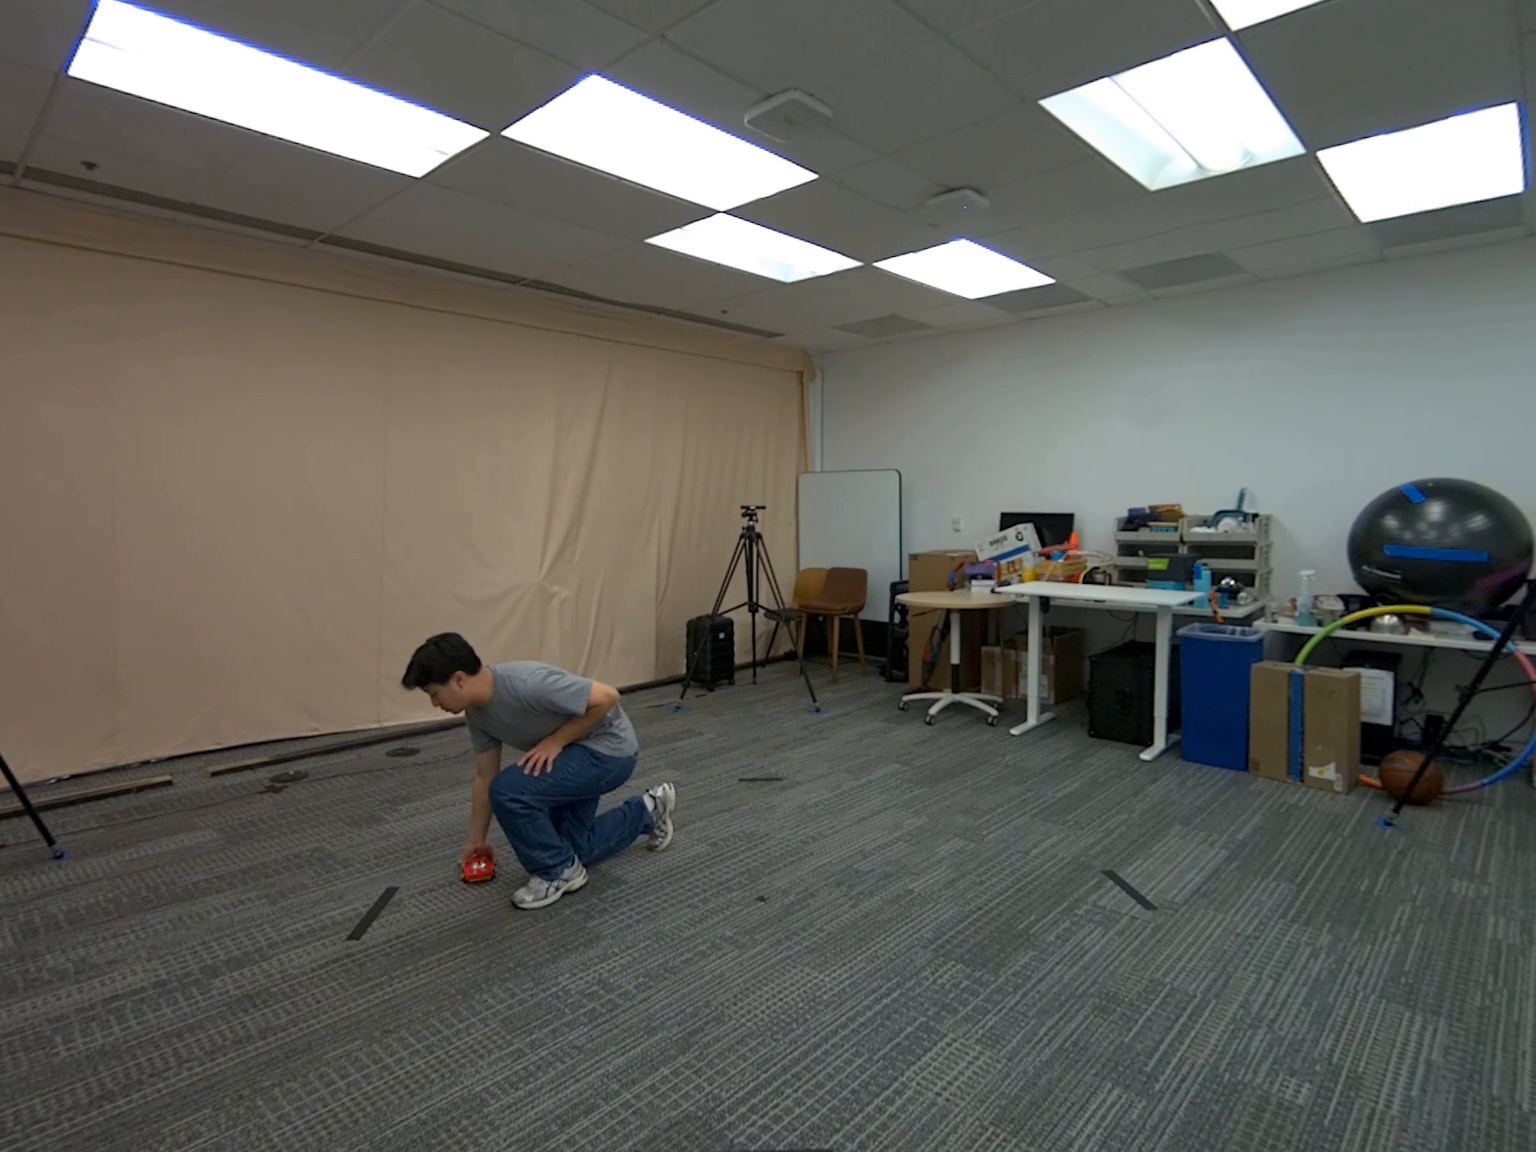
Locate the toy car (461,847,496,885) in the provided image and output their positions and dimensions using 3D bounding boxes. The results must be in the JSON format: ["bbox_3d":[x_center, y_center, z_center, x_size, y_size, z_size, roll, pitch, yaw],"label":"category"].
[{"bbox_3d":[-1.113,1.113,3.201,0.127,0.083,0.259,-2,-6,-24],"label":"toy car"}]
